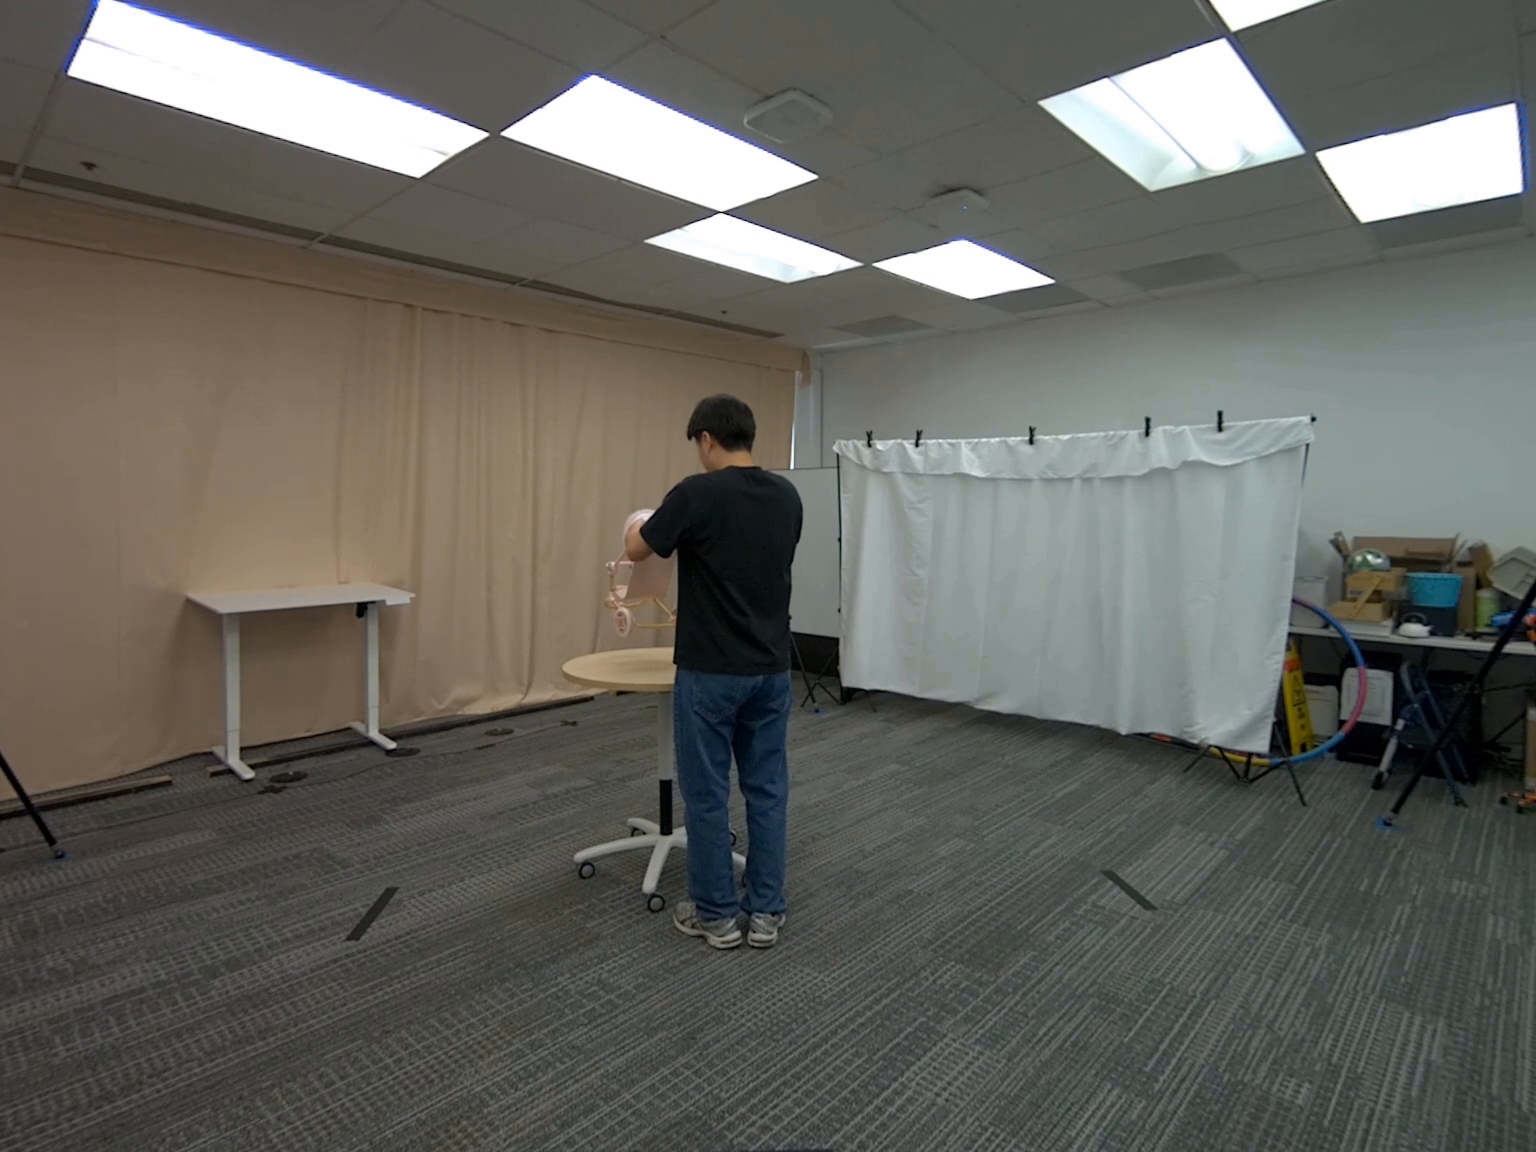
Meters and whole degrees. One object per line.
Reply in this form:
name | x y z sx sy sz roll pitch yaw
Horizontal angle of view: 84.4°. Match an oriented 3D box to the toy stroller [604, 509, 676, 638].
toy stroller | -0.468 -0.007 3.204 0.273 0.532 0.353 1 16 -34
